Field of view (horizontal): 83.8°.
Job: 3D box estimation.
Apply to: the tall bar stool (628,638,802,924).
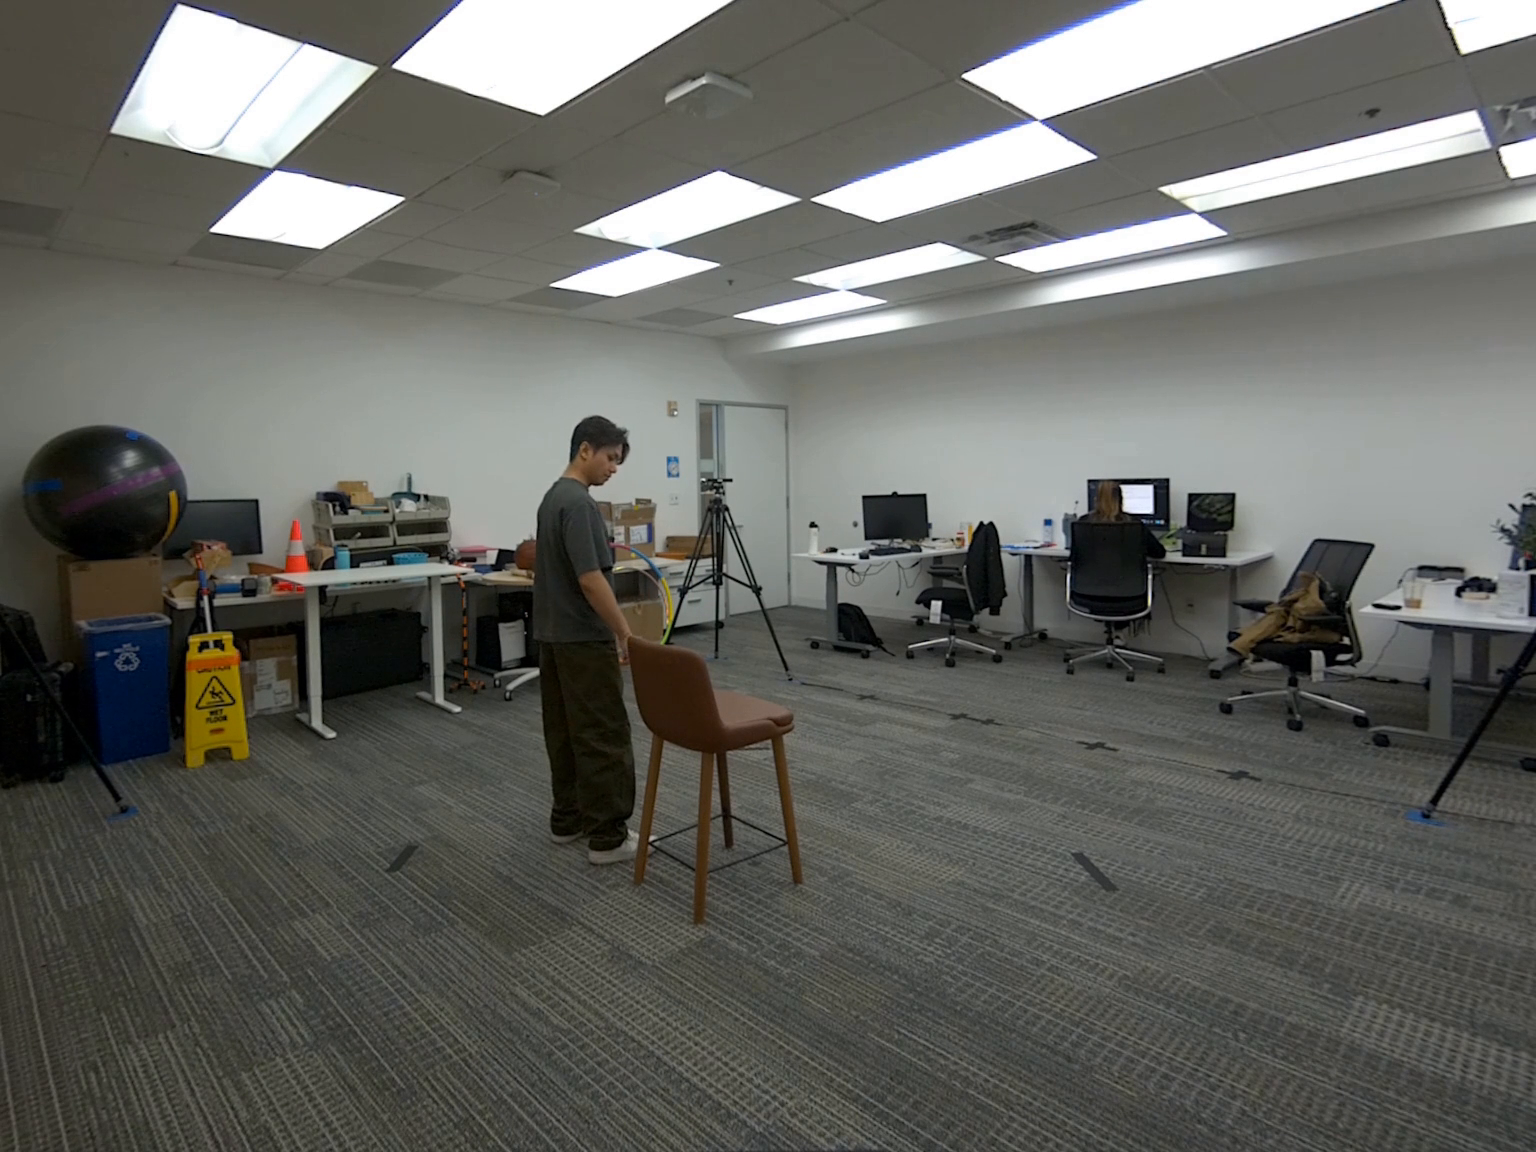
[{"bbox_3d":[-0.187,0.632,2.934,0.456,0.885,0.470,-7,7,-40],"label":"tall bar stool"}]
